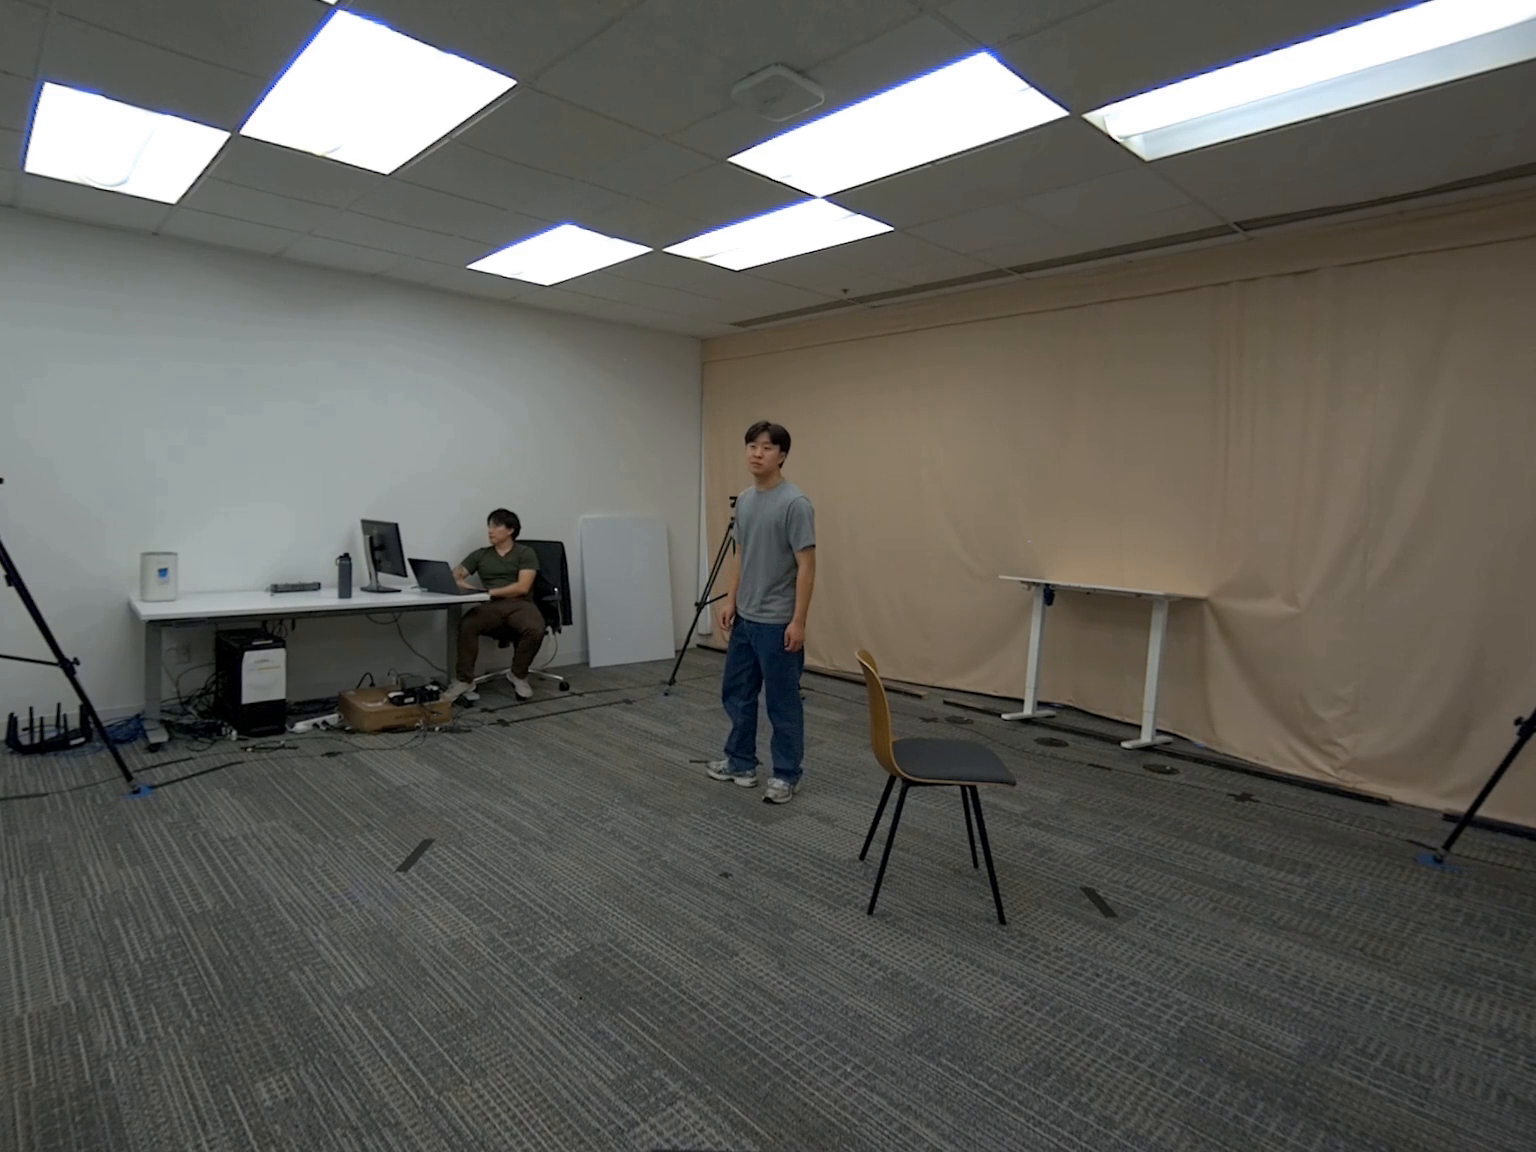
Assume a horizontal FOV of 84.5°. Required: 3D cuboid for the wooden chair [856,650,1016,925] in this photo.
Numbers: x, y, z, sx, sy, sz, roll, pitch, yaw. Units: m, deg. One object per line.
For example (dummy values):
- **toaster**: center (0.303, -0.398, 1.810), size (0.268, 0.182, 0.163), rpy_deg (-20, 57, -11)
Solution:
- **wooden chair**: center (0.586, 0.705, 3.005), size (0.525, 0.876, 0.478), rpy_deg (-1, 3, 3)
